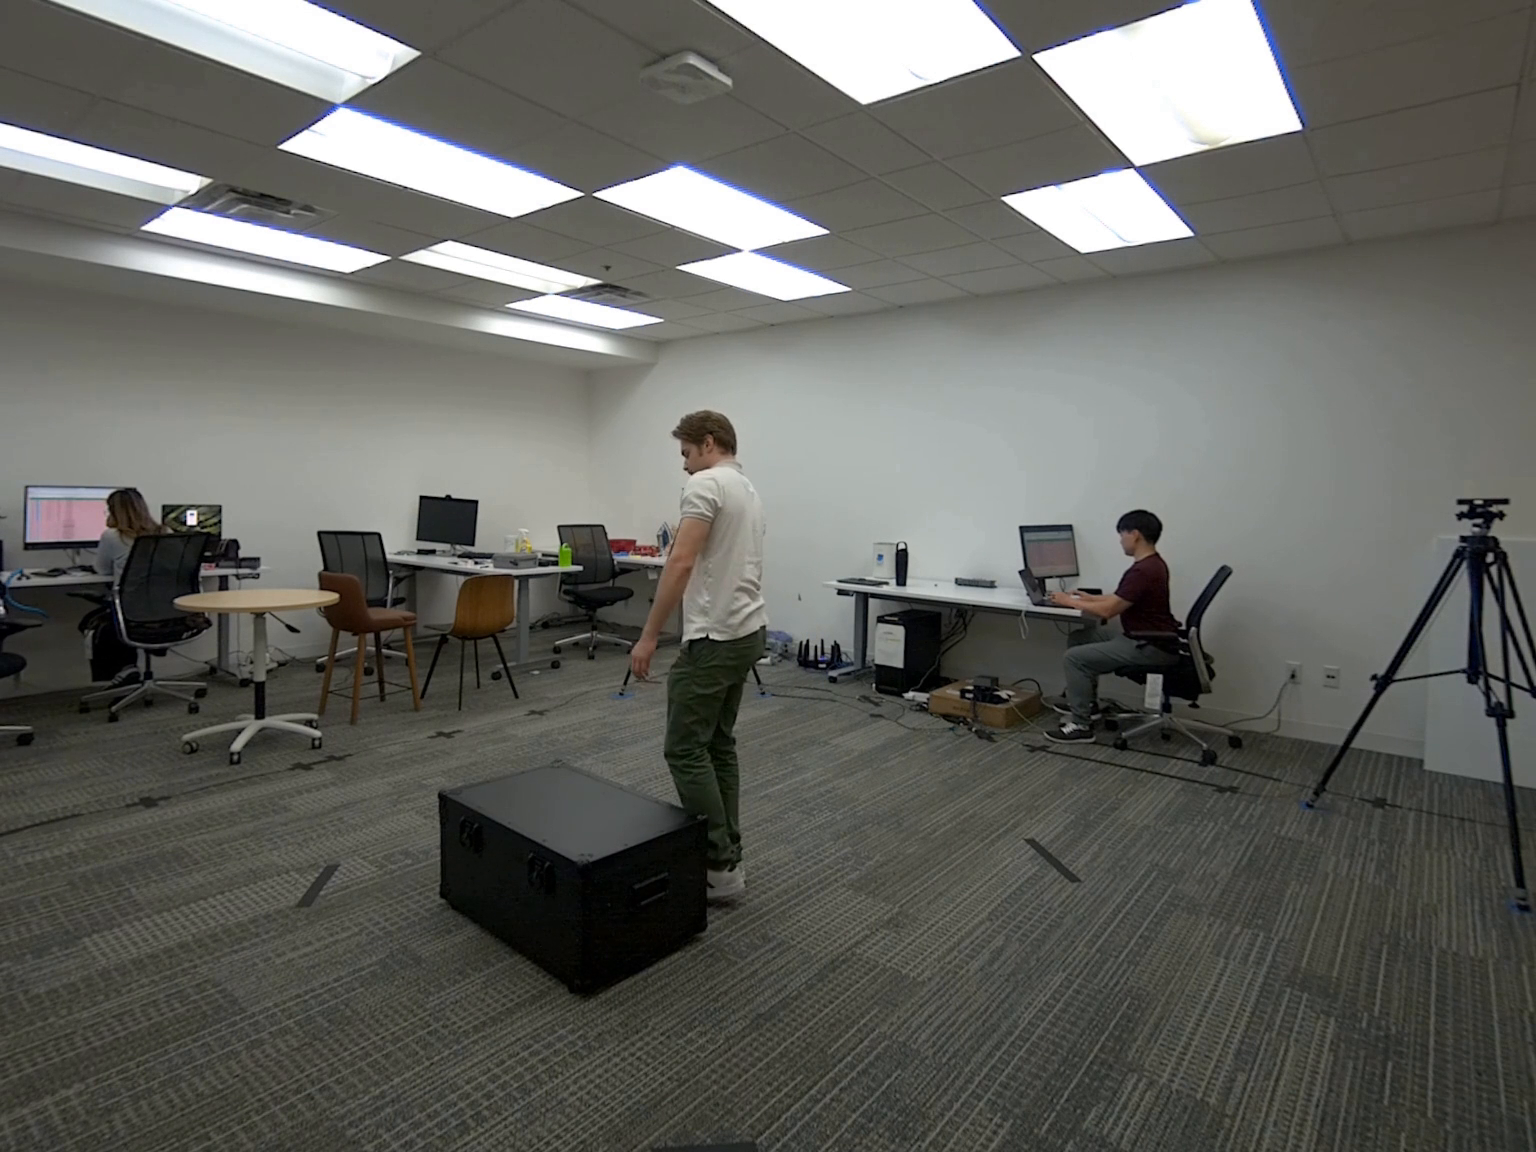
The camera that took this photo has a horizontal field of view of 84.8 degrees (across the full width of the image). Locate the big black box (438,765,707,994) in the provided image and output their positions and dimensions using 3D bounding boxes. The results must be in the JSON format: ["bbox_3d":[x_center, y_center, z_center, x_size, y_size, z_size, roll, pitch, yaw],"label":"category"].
[{"bbox_3d":[-0.669,0.901,2.742,0.898,0.383,0.508,6,8,42],"label":"big black box"}]
